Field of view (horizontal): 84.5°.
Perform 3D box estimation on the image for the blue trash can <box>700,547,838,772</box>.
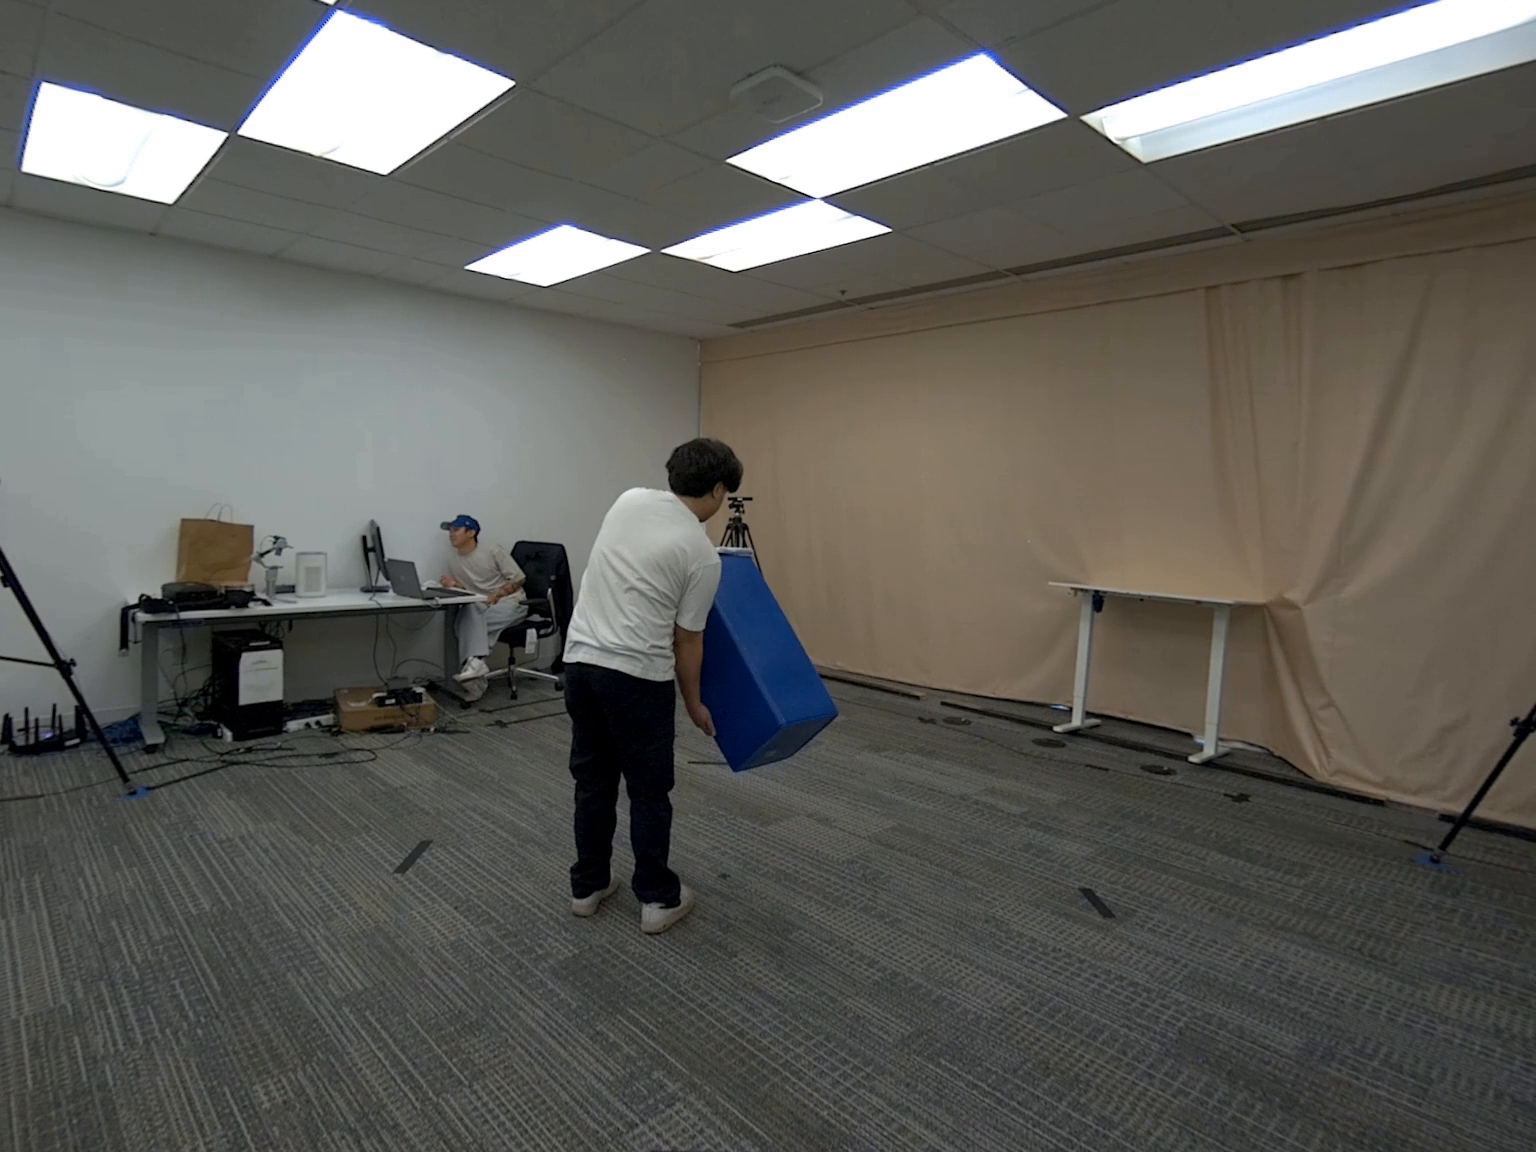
[{"bbox_3d":[-0.121,0.299,3.016,0.369,0.731,0.374,1,-40,-47],"label":"blue trash can"}]
